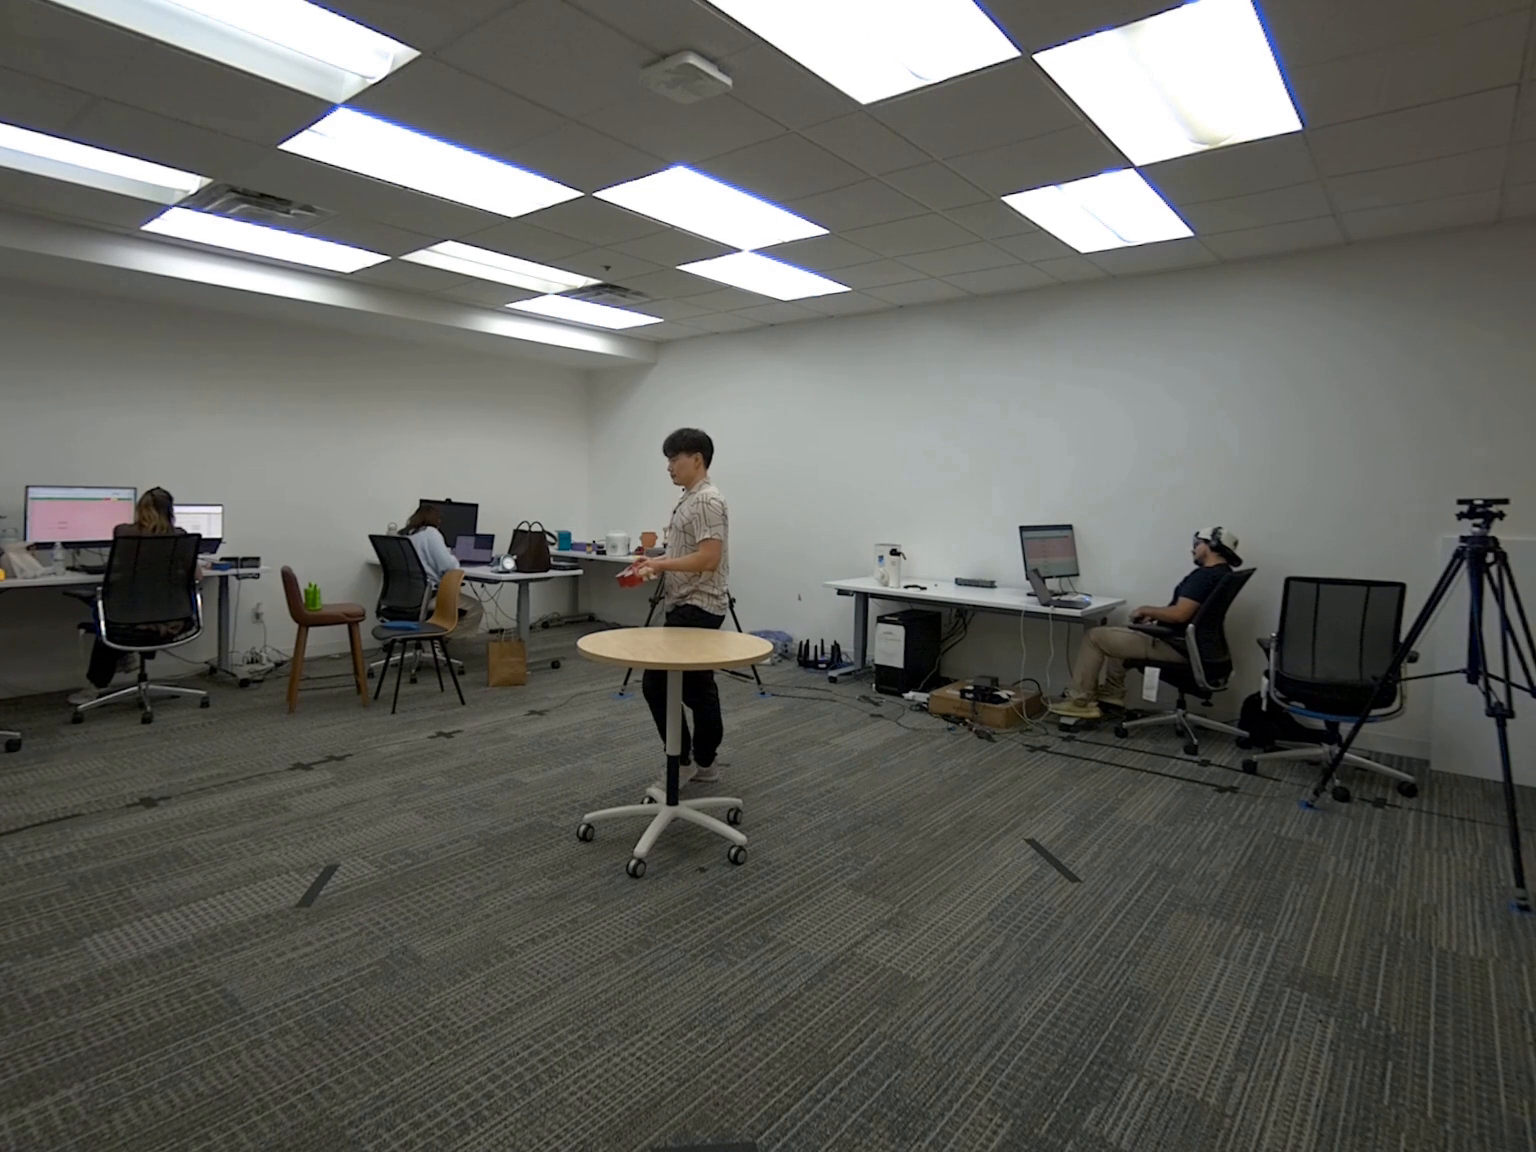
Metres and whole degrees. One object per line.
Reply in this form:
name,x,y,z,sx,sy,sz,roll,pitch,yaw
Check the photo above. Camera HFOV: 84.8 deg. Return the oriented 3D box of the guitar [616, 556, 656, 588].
guitar,-0.628,-0.002,3.848,0.192,0.070,0.505,-27,11,-4
